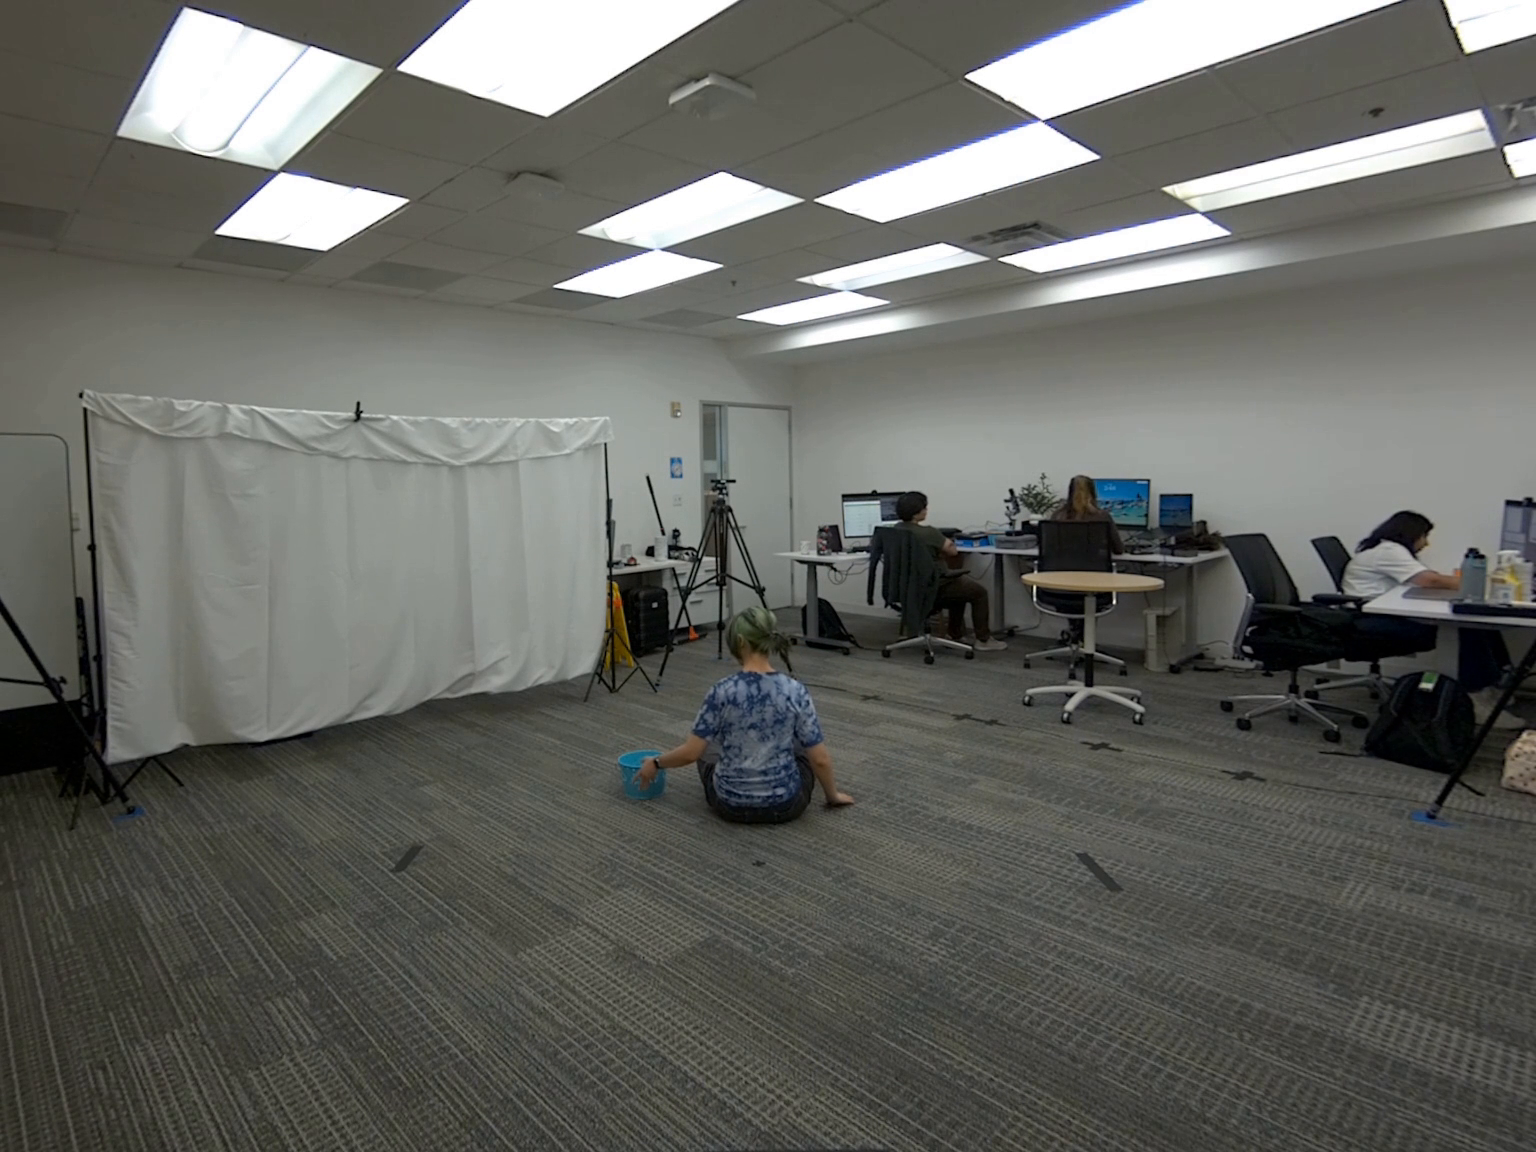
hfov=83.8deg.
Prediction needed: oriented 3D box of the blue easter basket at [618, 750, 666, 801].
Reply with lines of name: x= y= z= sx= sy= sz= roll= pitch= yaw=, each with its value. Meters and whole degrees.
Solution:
blue easter basket: x=-0.555 y=0.899 z=3.875 sx=0.243 sy=0.155 sz=0.245 roll=-1 pitch=5 yaw=-2
